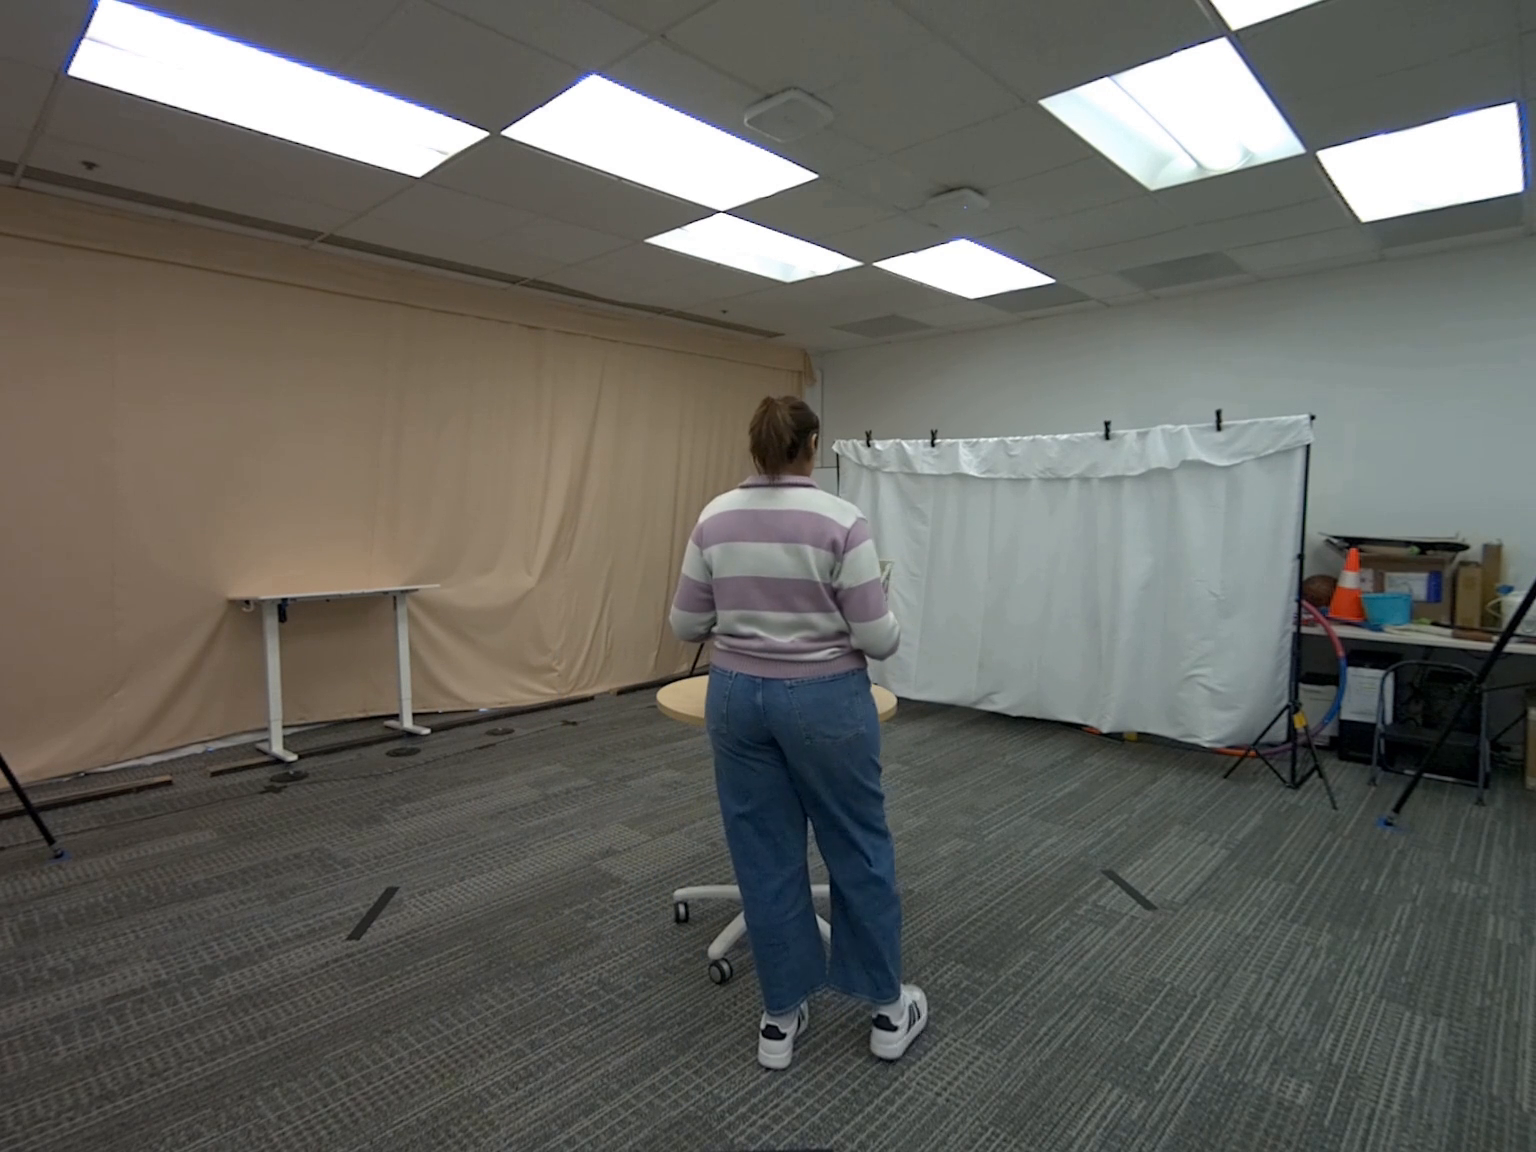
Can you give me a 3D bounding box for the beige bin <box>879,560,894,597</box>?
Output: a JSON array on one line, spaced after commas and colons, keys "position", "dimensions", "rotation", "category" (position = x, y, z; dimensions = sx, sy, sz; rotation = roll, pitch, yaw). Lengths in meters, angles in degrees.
[{"position": [0.146, 0.066, 2.465], "dimensions": [0.428, 0.188, 0.374], "rotation": [4, 9, 12], "category": "beige bin"}]
